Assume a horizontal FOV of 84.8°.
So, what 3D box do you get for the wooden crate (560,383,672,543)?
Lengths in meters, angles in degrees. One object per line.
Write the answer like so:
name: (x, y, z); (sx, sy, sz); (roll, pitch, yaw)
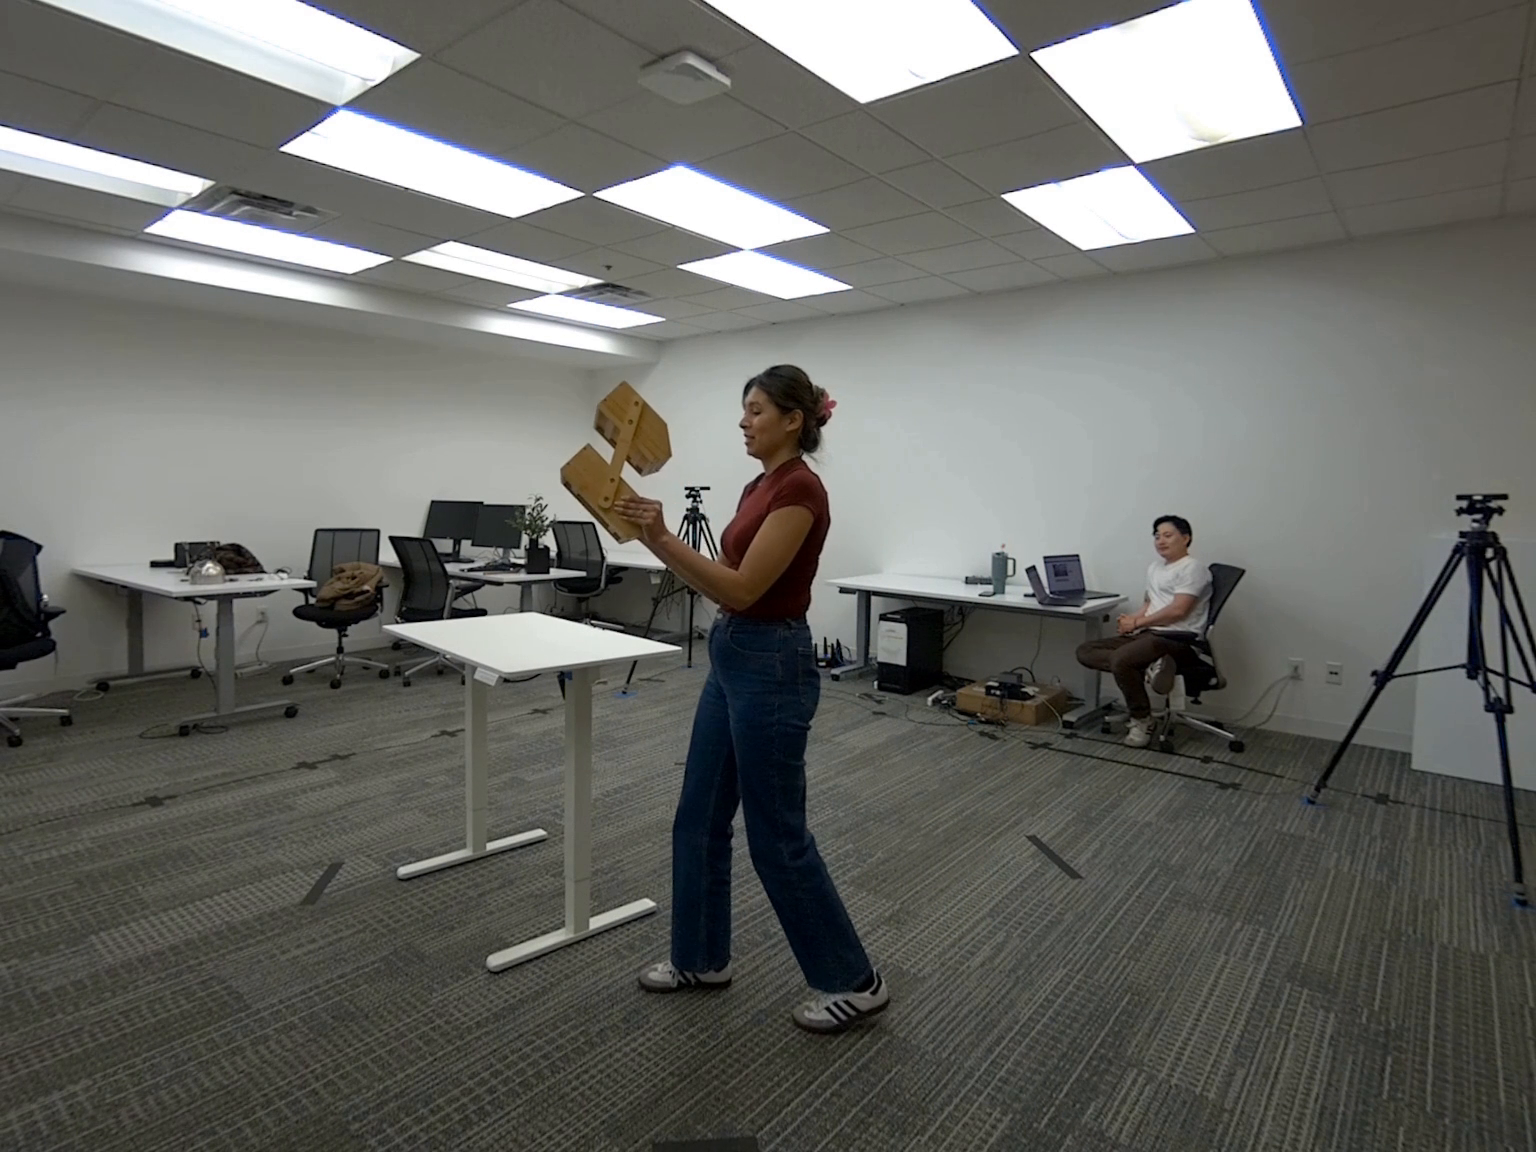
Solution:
wooden crate: (-0.364, -0.273, 2.167); (0.273, 0.299, 0.328); (-46, 8, -9)
